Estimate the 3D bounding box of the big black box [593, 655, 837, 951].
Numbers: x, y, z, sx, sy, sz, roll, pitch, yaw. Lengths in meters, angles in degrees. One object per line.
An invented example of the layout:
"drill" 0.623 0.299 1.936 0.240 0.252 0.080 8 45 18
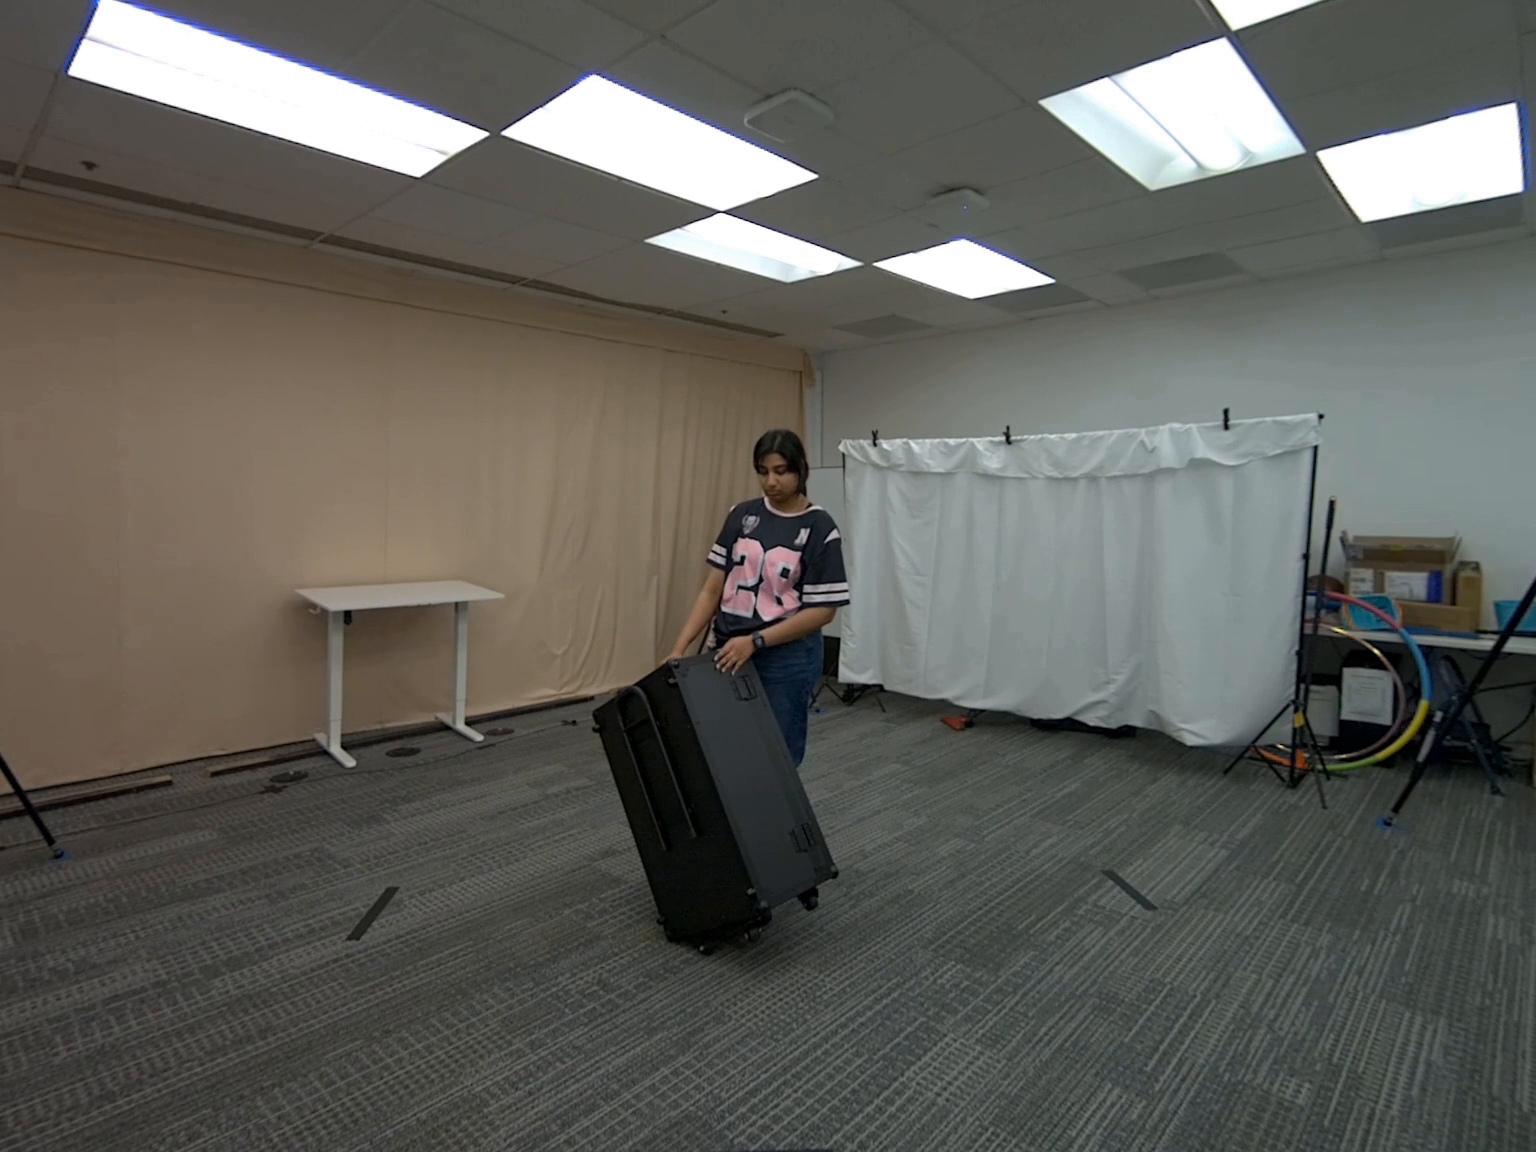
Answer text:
"big black box" -0.176 0.733 2.759 0.373 0.883 0.531 -3 -25 -48
